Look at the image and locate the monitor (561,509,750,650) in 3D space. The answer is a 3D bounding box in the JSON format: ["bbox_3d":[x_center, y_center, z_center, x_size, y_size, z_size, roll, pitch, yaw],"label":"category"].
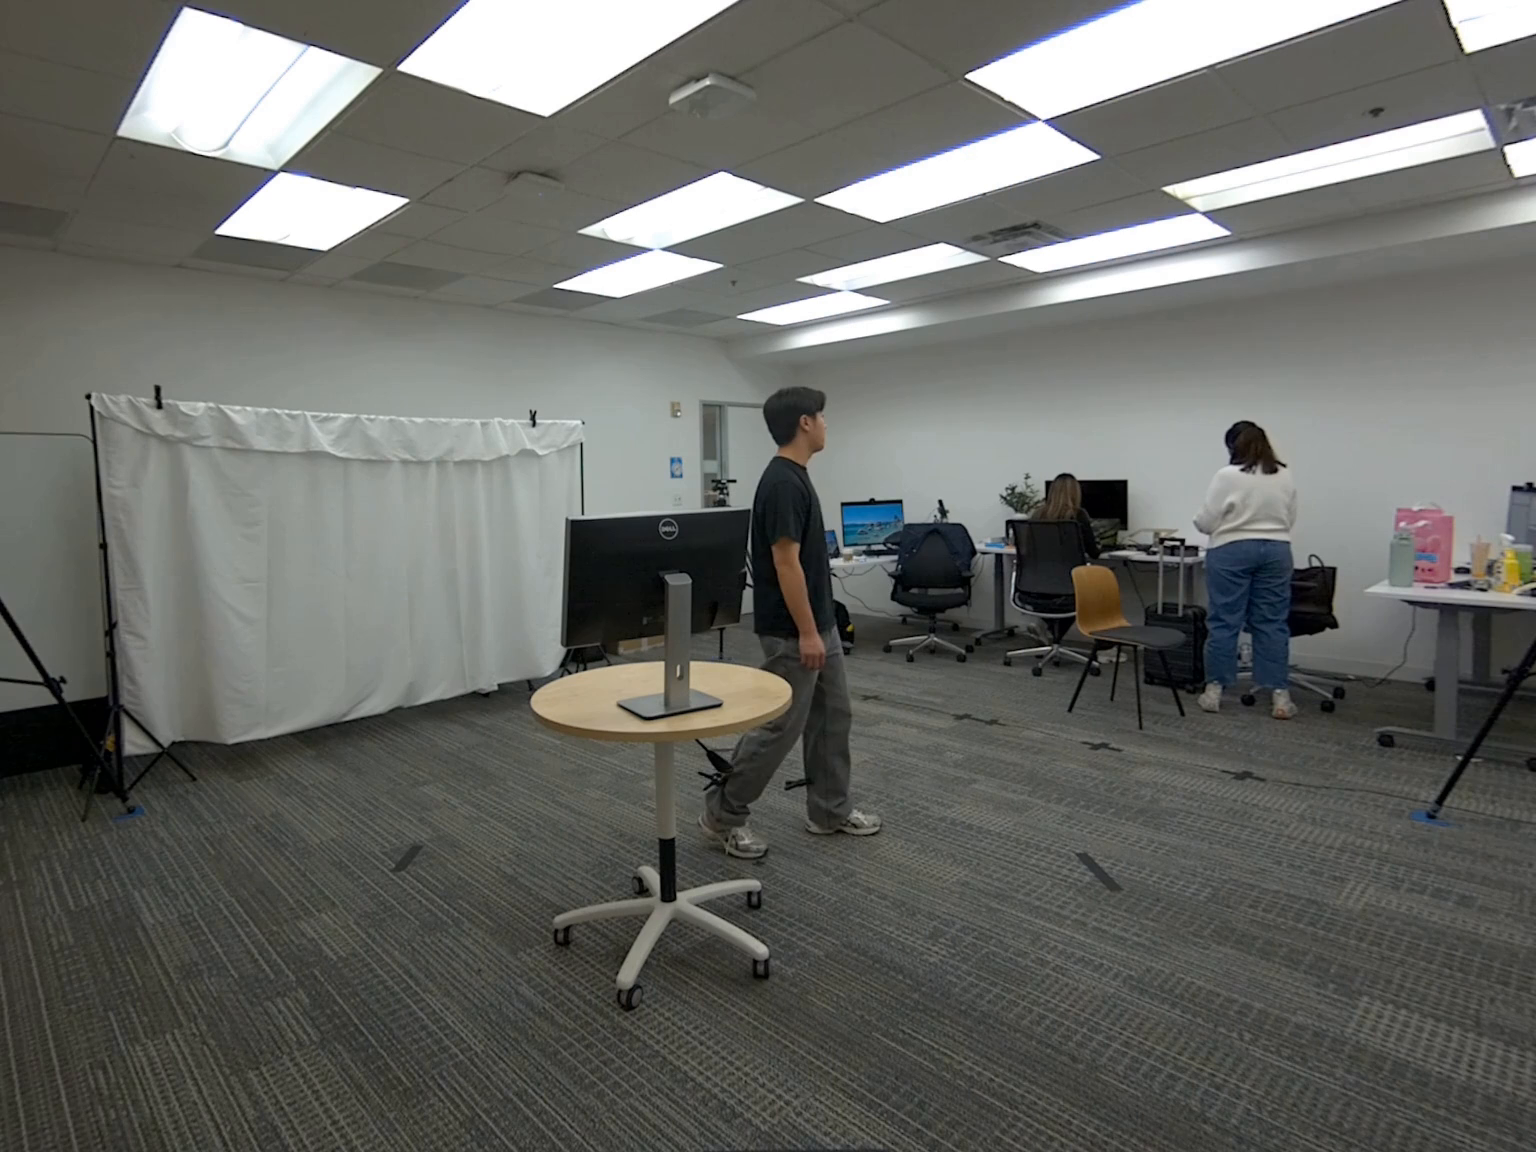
[{"bbox_3d":[-0.276,0.103,2.358,0.549,0.565,0.228,-4,3,-29],"label":"monitor"}]
